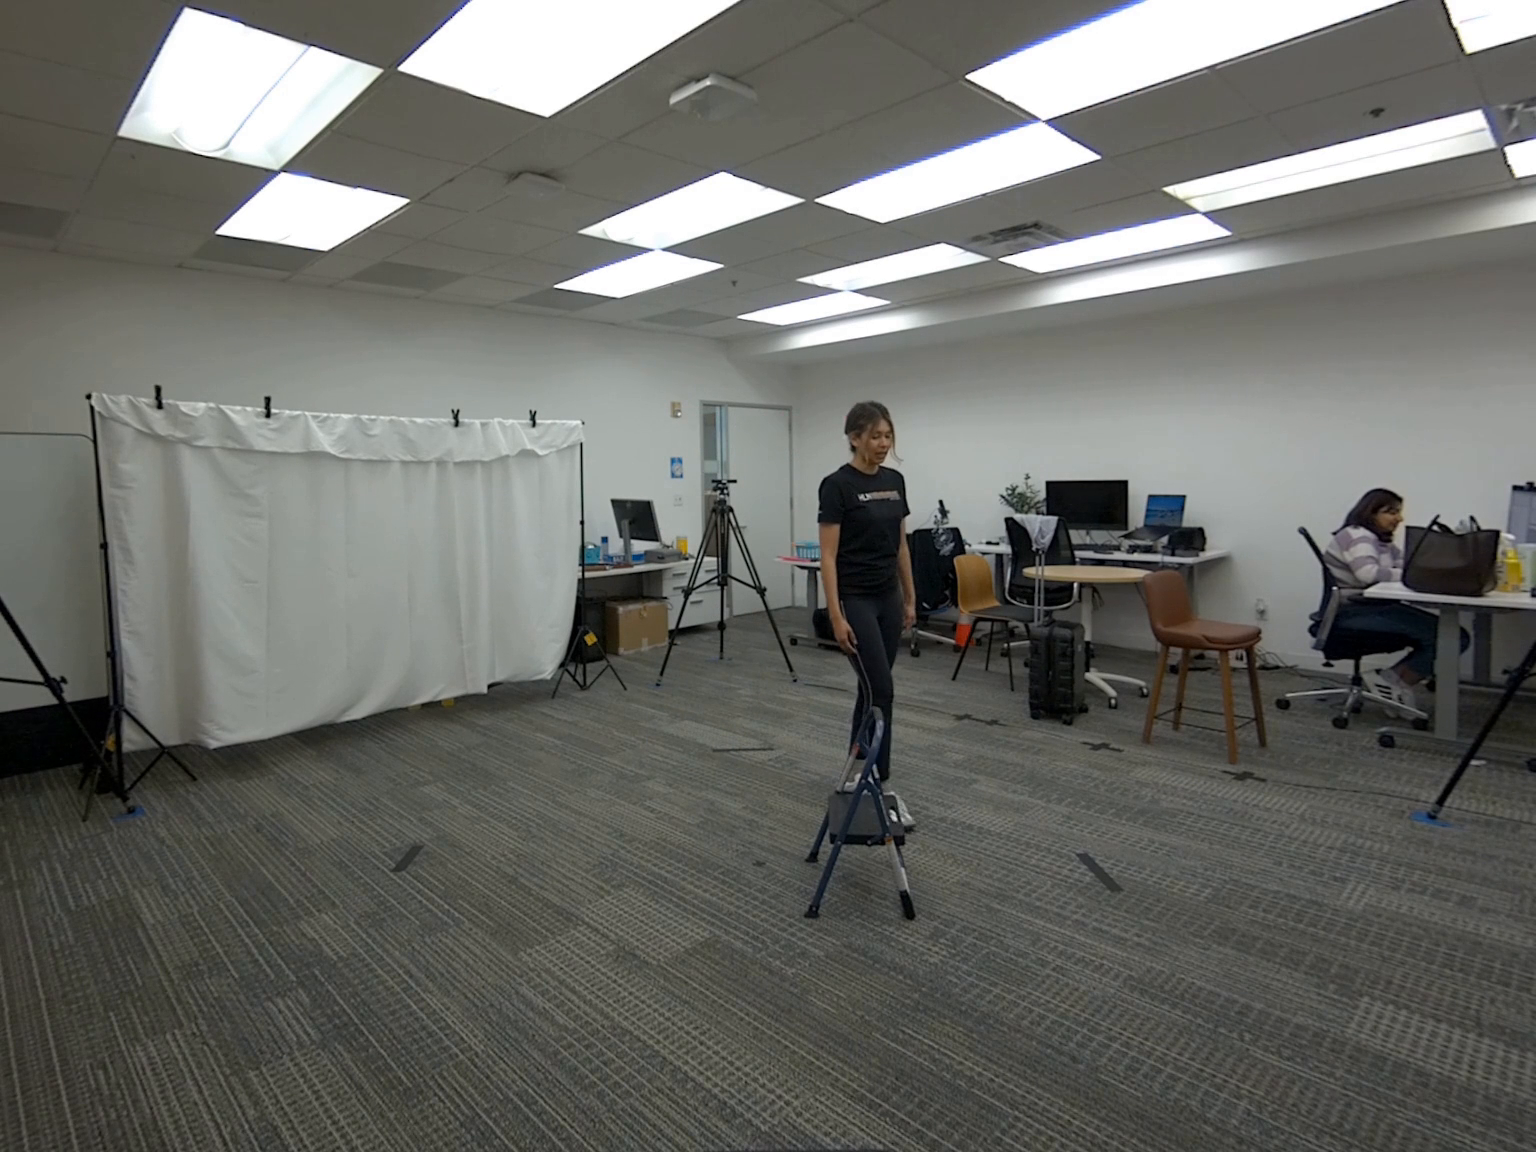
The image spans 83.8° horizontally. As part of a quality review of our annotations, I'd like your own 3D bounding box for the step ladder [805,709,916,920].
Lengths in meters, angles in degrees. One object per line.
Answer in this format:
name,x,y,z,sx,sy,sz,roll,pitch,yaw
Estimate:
step ladder,0.301,0.765,2.892,0.351,0.604,0.430,-2,4,4
